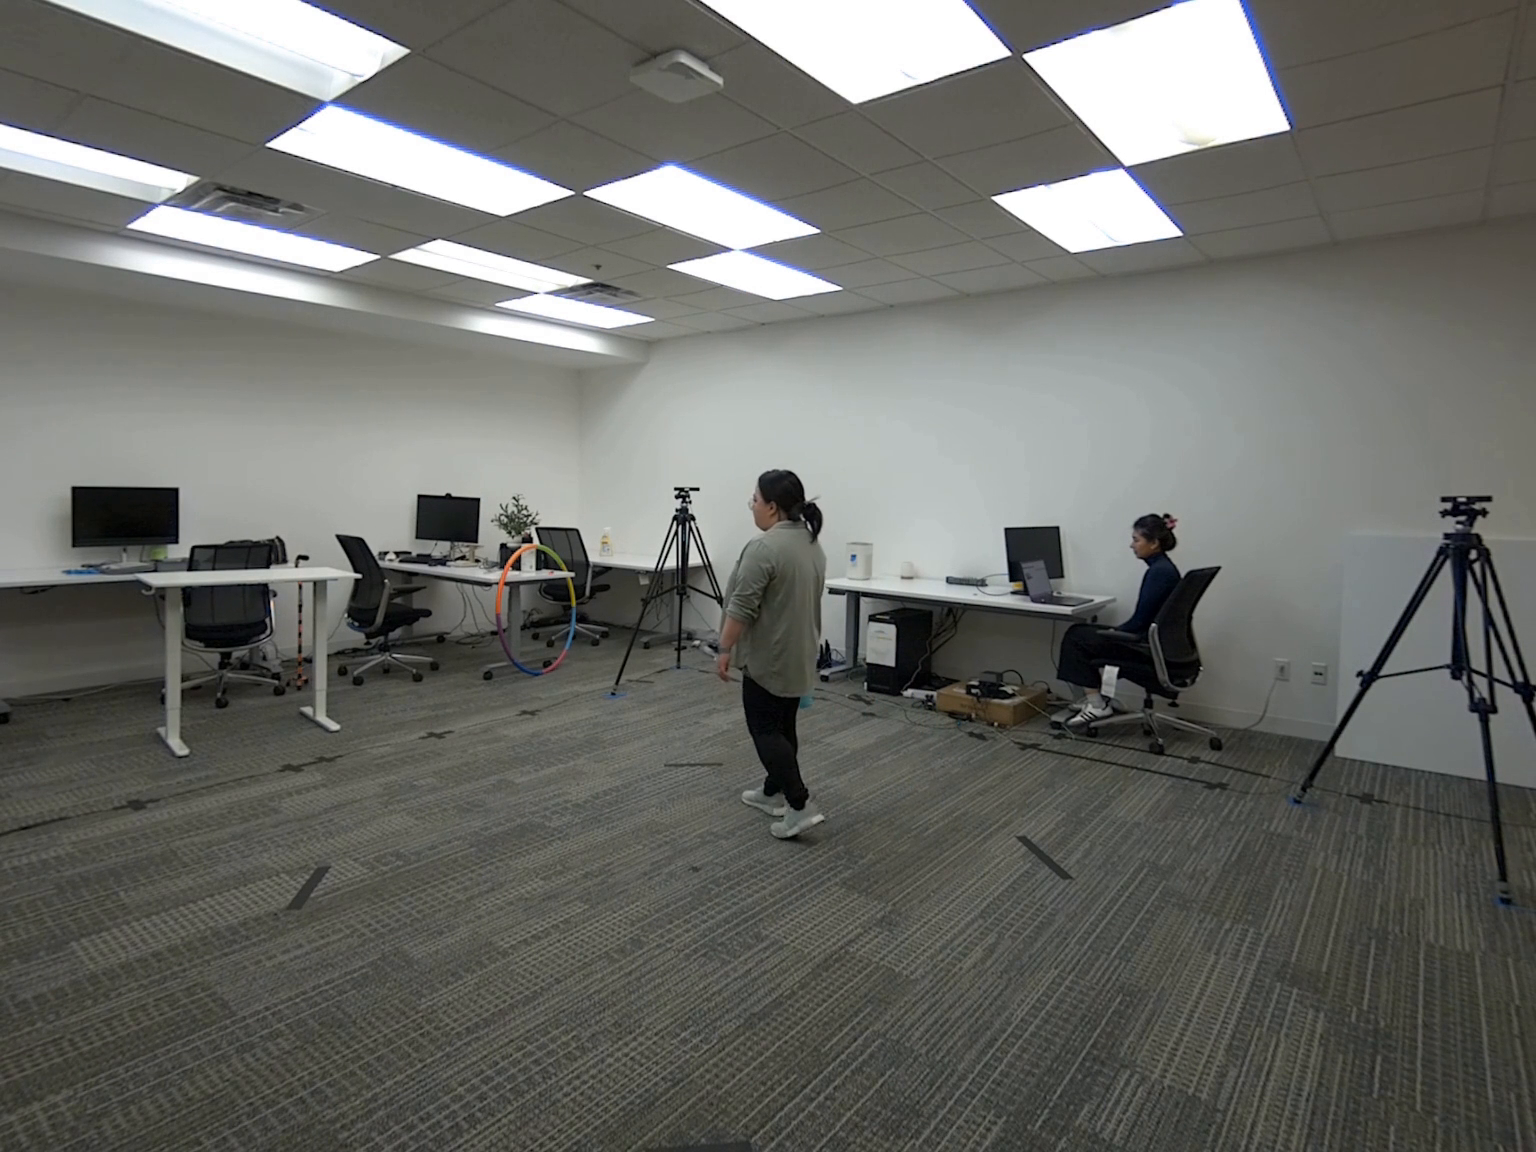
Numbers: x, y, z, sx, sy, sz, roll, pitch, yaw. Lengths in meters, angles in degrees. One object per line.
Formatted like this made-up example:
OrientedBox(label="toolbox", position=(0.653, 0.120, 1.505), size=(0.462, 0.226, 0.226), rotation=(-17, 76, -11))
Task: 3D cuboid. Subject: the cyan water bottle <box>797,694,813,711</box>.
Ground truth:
OrientedBox(label="cyan water bottle", position=(0.132, 0.454, 3.894), size=(0.092, 0.284, 0.092), rotation=(-5, -4, -2))
